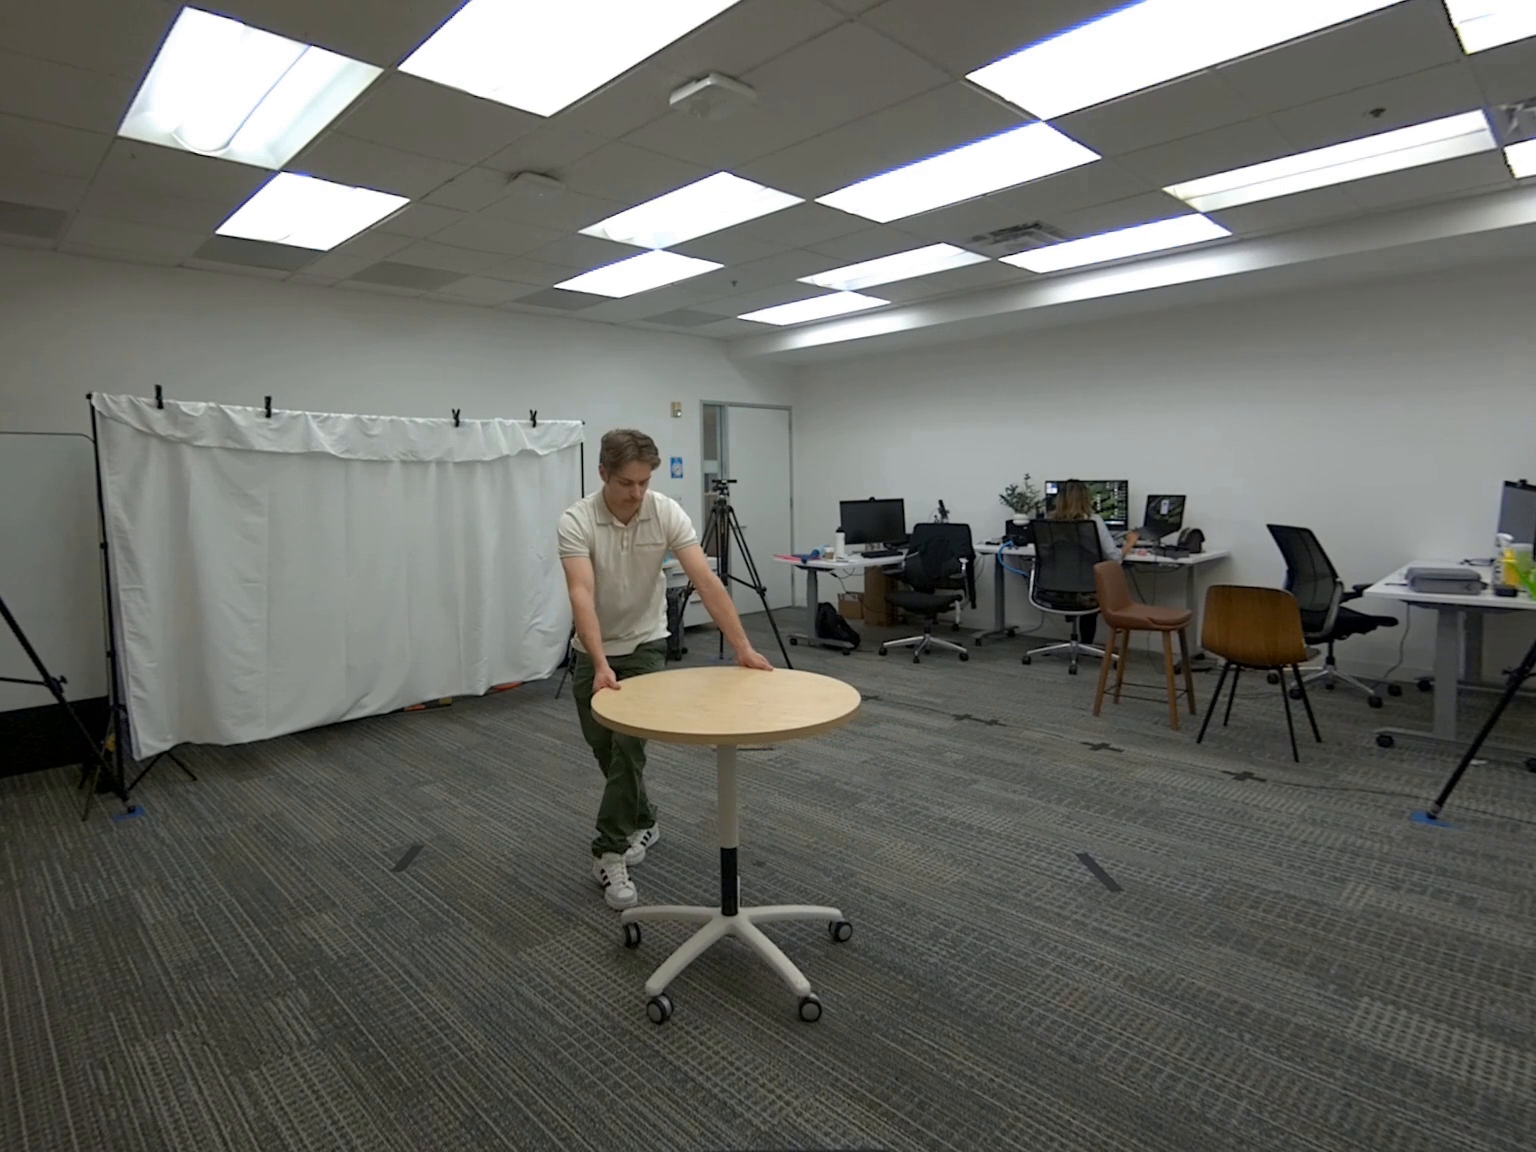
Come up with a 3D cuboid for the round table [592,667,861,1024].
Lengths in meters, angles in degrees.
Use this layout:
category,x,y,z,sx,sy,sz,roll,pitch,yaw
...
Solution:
category,x,y,z,sx,sy,sz,roll,pitch,yaw
round table,-0.117,0.728,2.483,0.784,0.784,0.789,-1,5,-2
